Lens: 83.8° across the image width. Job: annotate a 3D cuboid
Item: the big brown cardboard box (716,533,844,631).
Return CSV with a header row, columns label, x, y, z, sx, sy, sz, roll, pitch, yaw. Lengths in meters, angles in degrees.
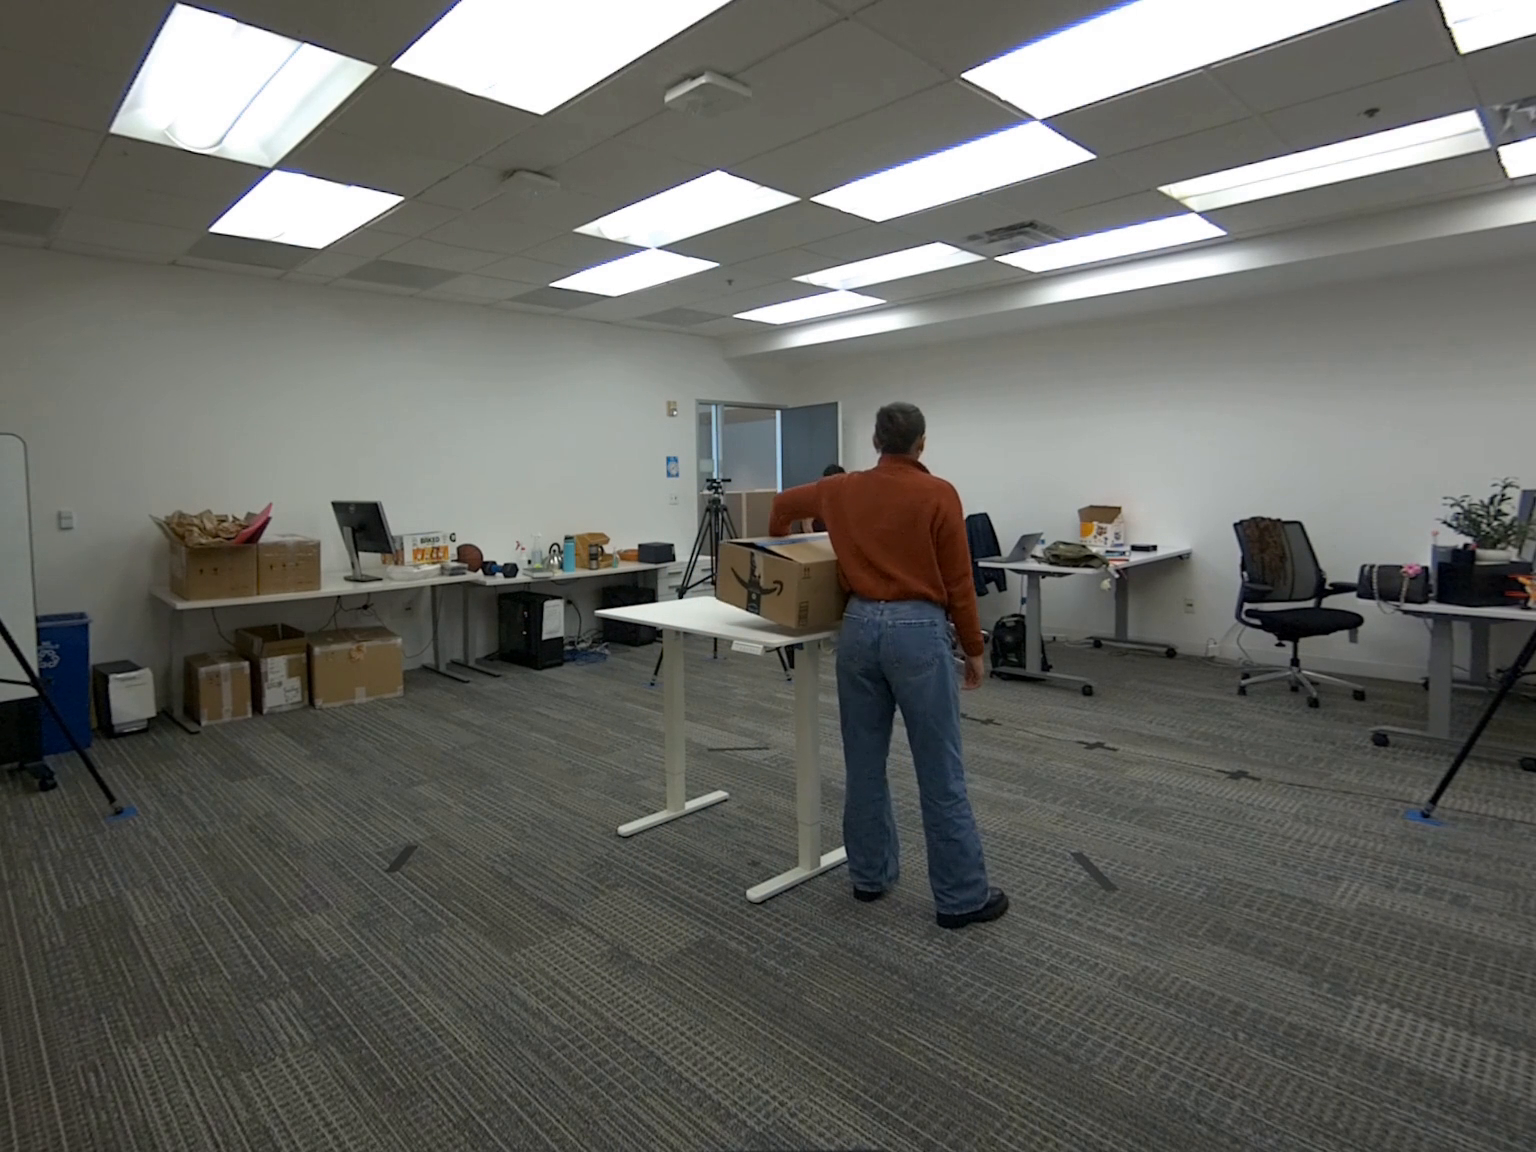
label,x,y,z,sx,sy,sz,roll,pitch,yaw
big brown cardboard box,0.176,-0.002,3.026,0.574,0.231,0.432,-8,16,-40
